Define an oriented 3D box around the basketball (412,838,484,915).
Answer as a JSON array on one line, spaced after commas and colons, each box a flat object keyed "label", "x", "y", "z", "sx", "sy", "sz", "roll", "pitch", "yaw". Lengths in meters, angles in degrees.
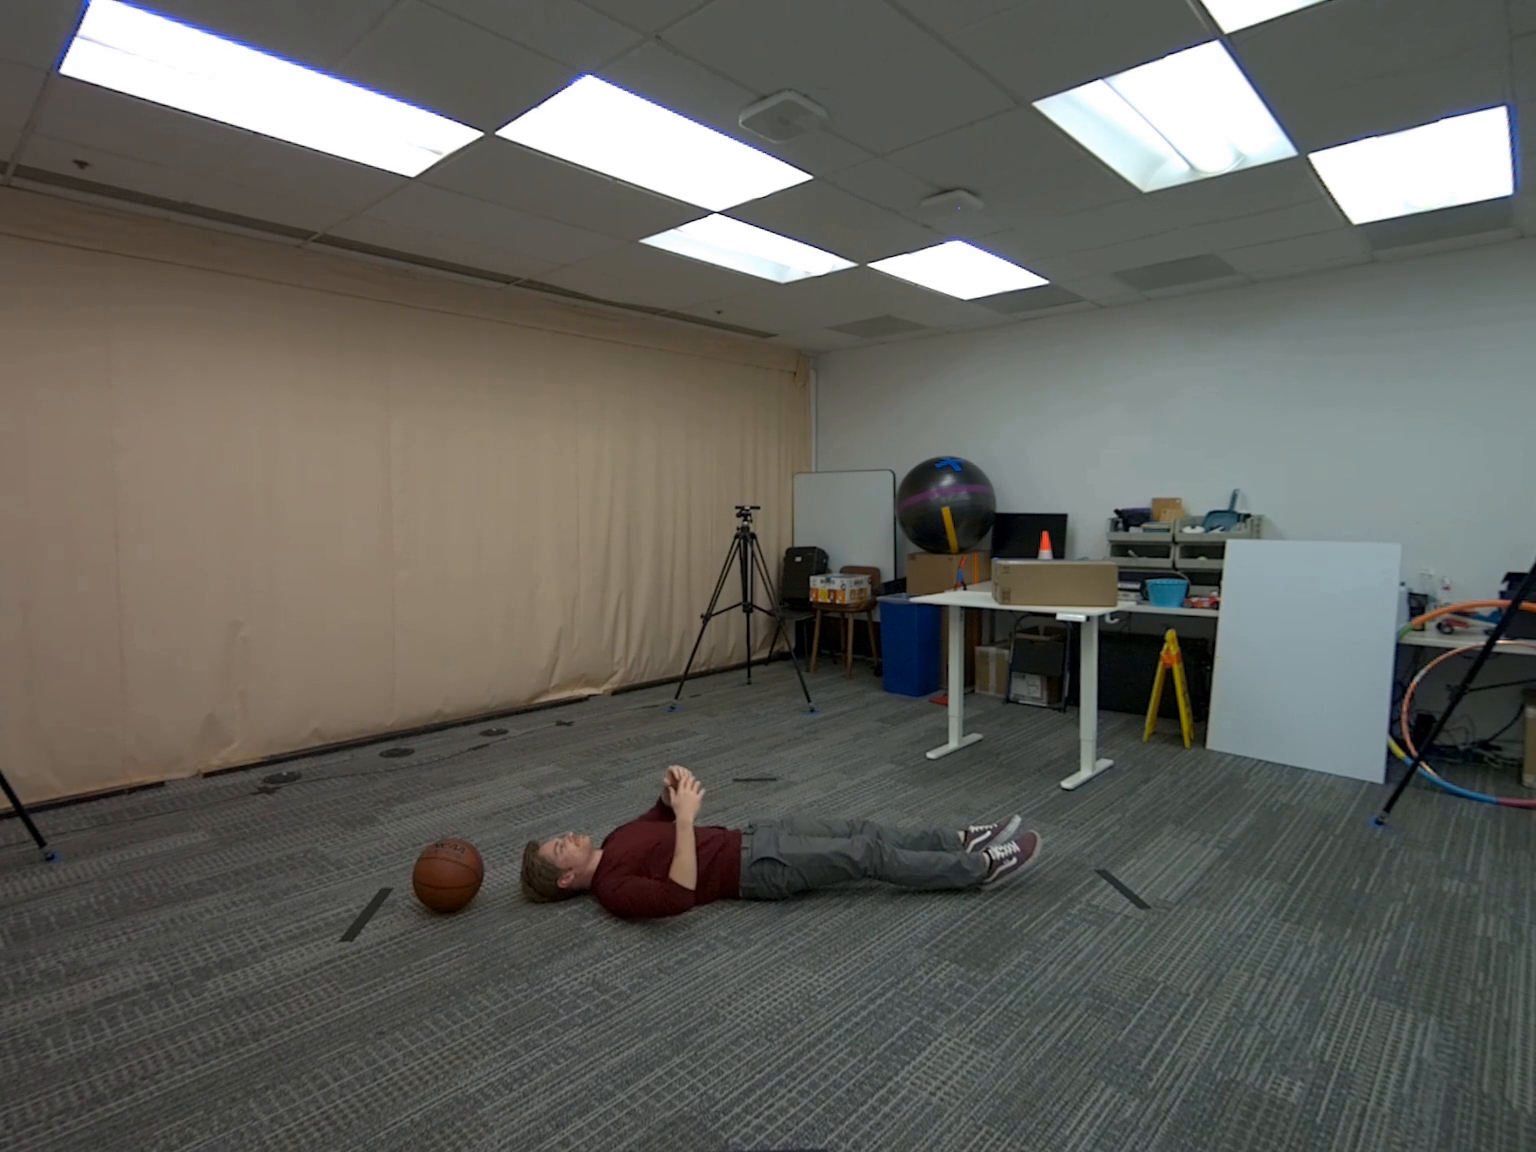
[{"label": "basketball", "x": -1.112, "y": 1.040, "z": 2.924, "sx": 0.236, "sy": 0.235, "sz": 0.237, "roll": 0, "pitch": 4, "yaw": -2}]
